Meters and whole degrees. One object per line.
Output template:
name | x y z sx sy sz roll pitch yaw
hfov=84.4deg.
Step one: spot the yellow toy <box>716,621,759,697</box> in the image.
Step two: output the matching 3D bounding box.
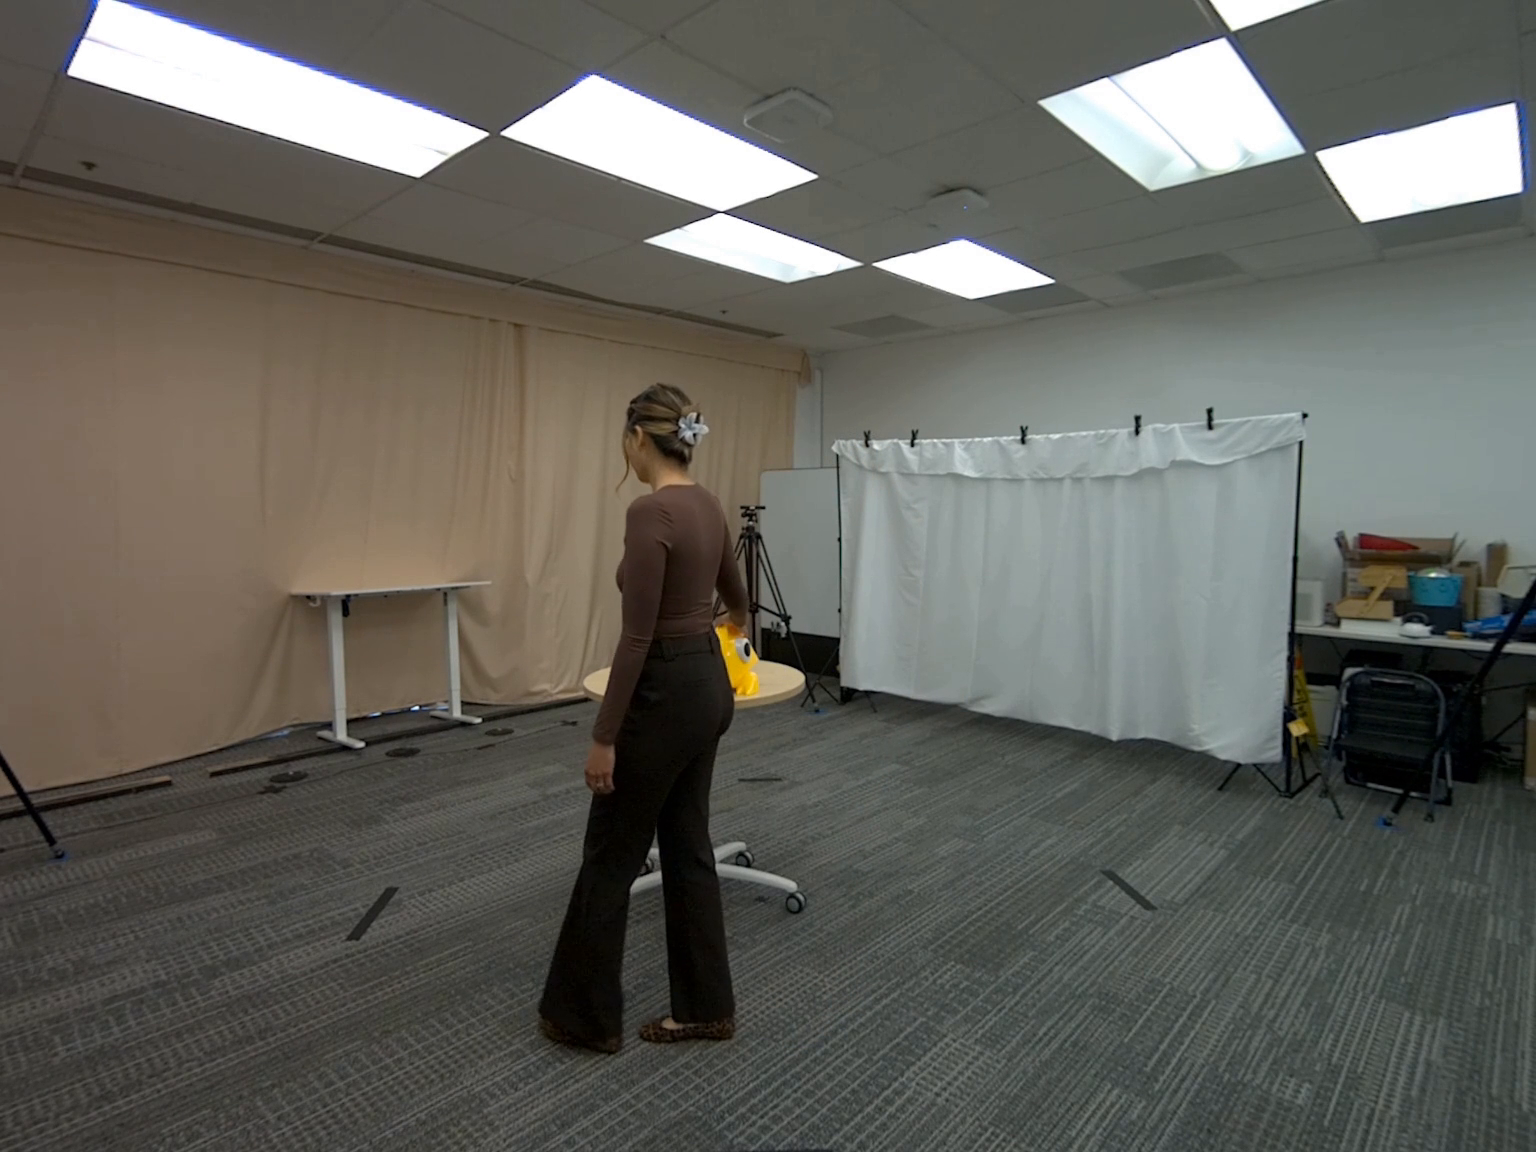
yellow toy | -0.129 0.255 2.728 0.205 0.230 0.193 0 2 1
